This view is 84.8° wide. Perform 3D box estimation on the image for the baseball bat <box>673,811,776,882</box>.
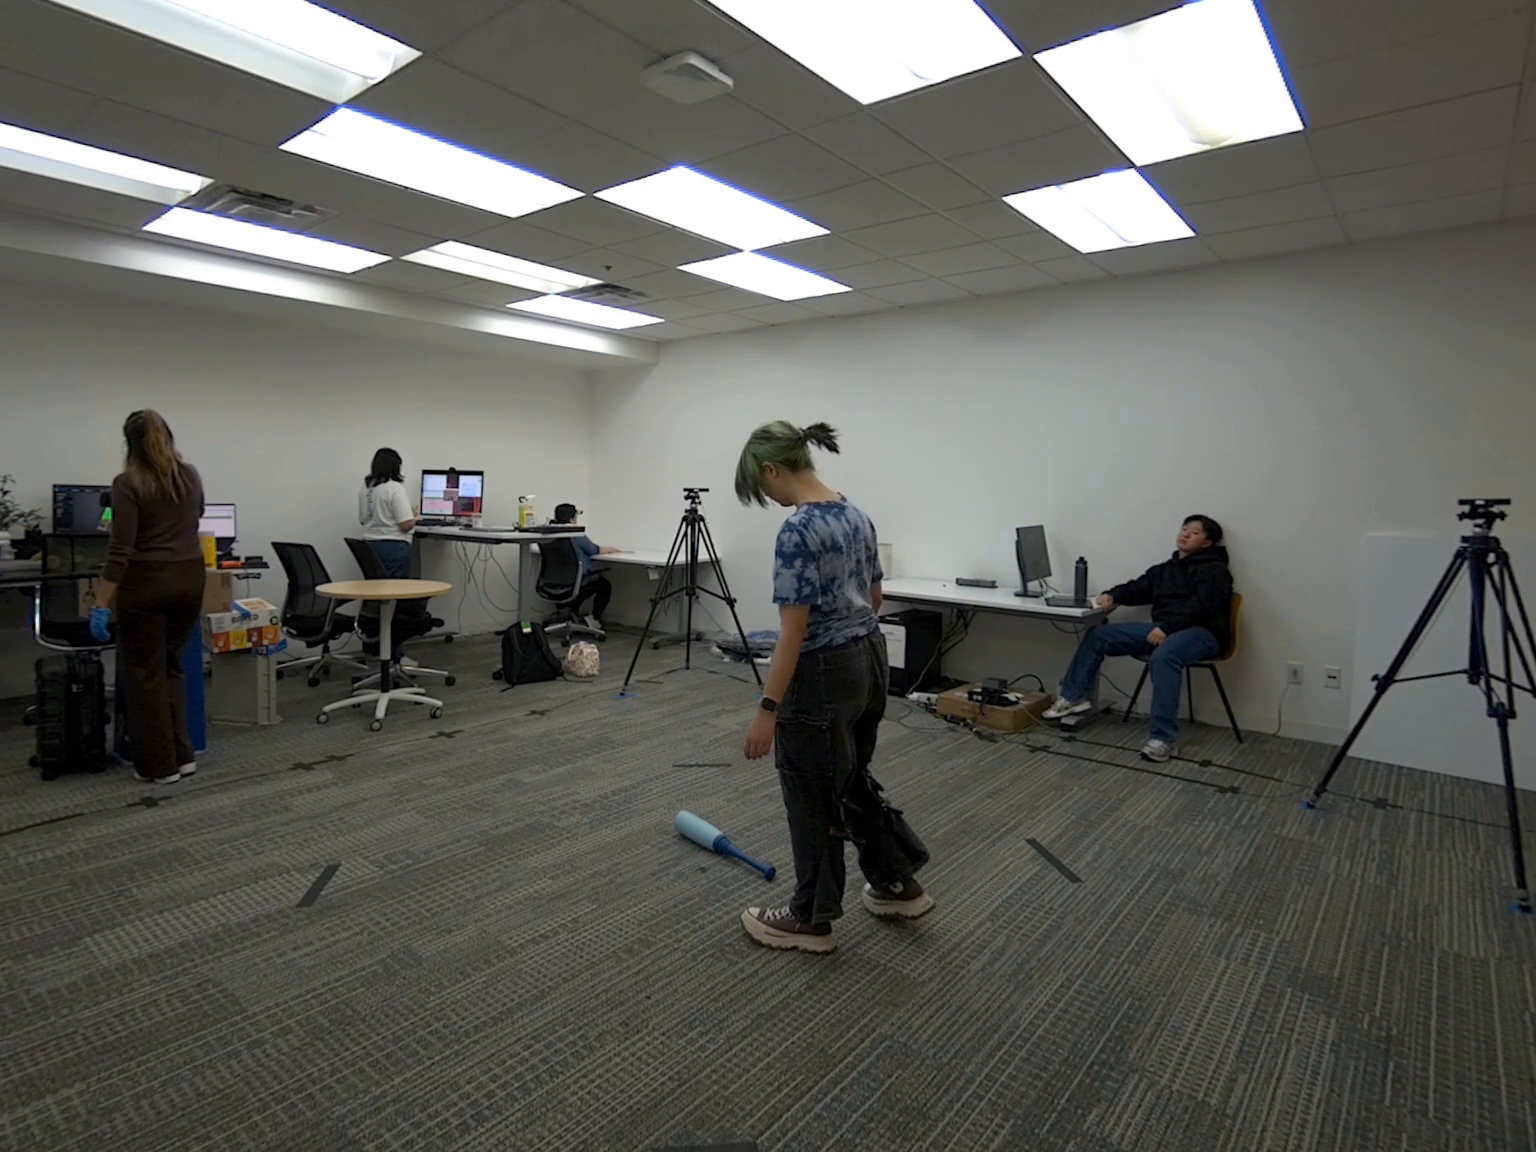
[{"bbox_3d":[-0.181,1.024,3.232,0.086,0.088,0.563,-3,10,-41],"label":"baseball bat"}]
